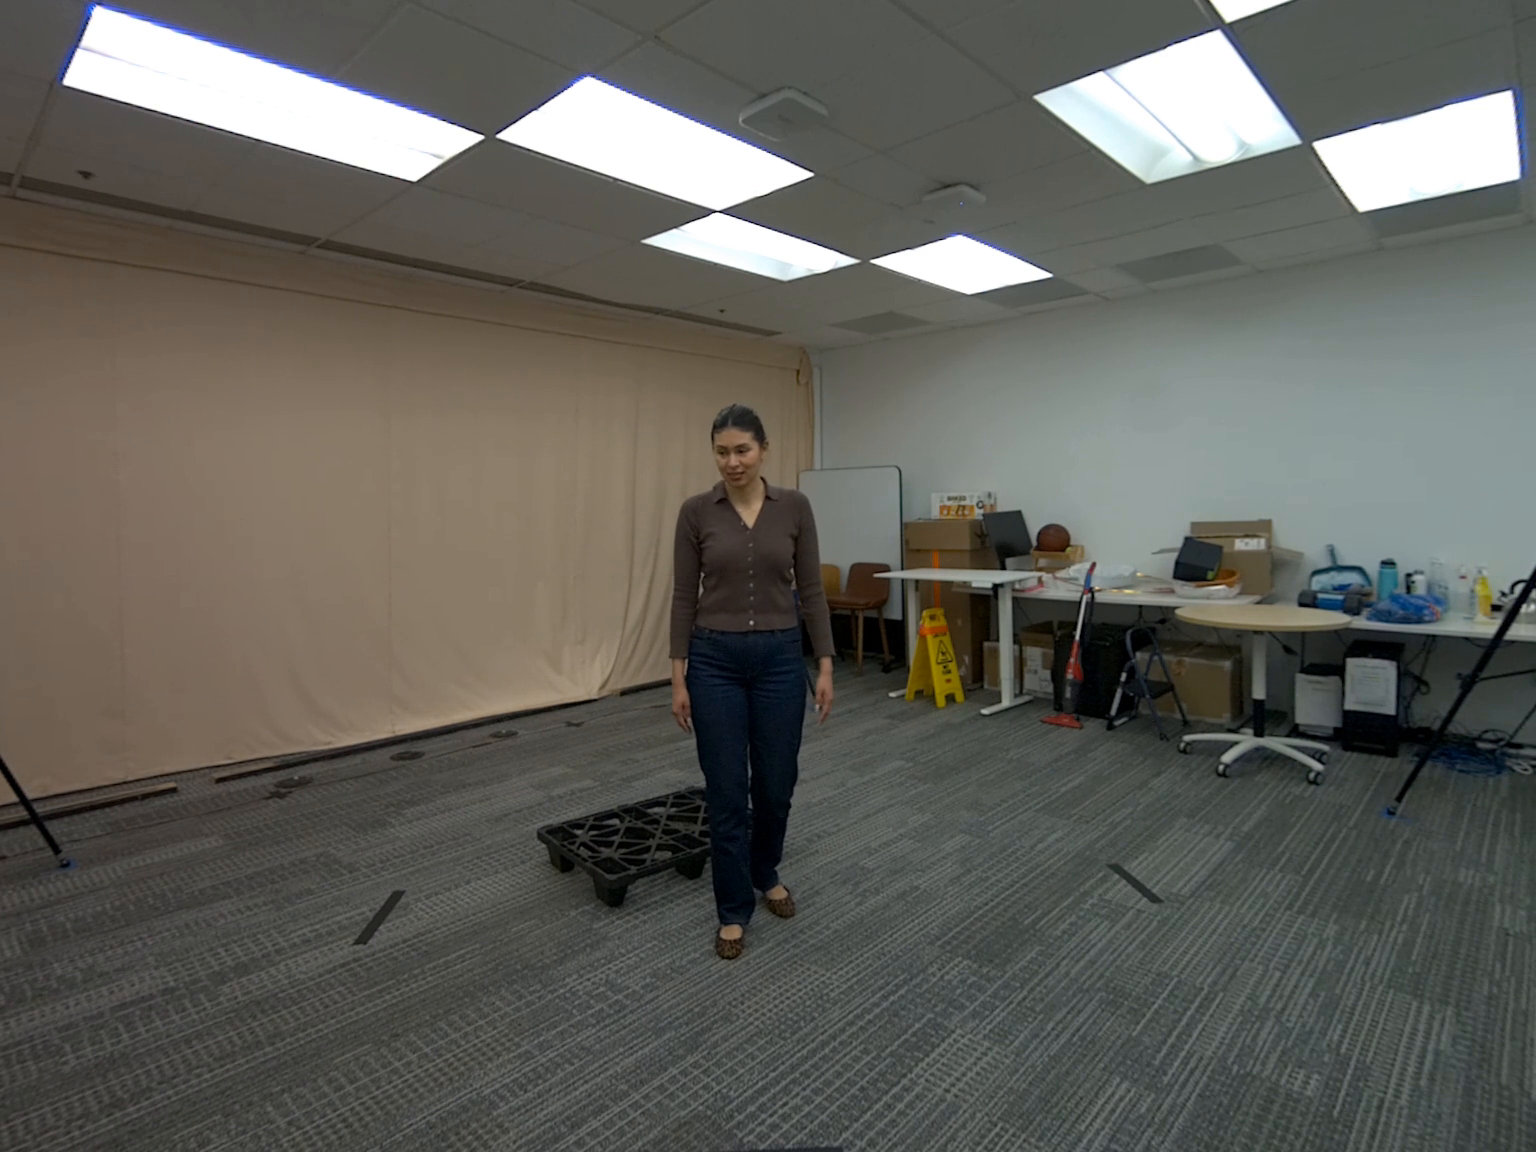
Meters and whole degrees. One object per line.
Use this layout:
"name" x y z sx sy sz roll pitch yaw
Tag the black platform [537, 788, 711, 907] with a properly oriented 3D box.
"black platform" -0.417 1.053 3.330 0.782 0.143 0.625 -5 7 -39
